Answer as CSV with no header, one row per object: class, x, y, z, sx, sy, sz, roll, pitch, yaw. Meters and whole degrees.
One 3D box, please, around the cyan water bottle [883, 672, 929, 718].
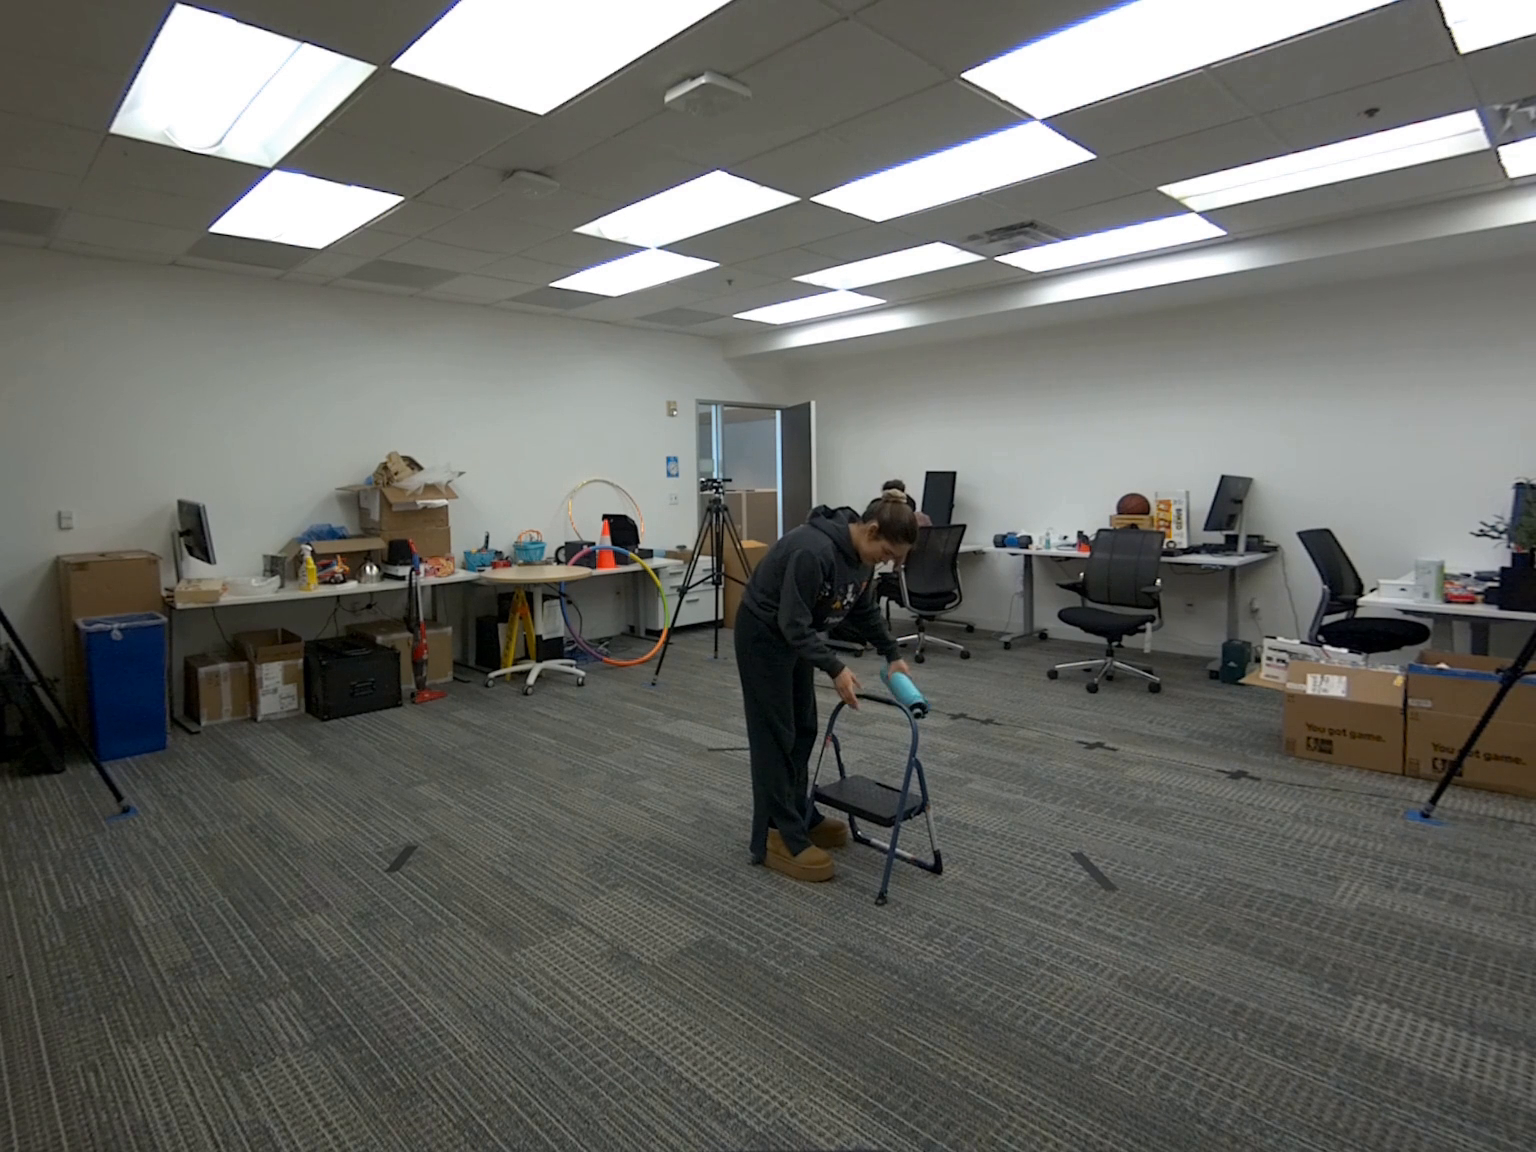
cyan water bottle,0.513,0.438,3.246,0.091,0.091,0.293,-3,25,-20
